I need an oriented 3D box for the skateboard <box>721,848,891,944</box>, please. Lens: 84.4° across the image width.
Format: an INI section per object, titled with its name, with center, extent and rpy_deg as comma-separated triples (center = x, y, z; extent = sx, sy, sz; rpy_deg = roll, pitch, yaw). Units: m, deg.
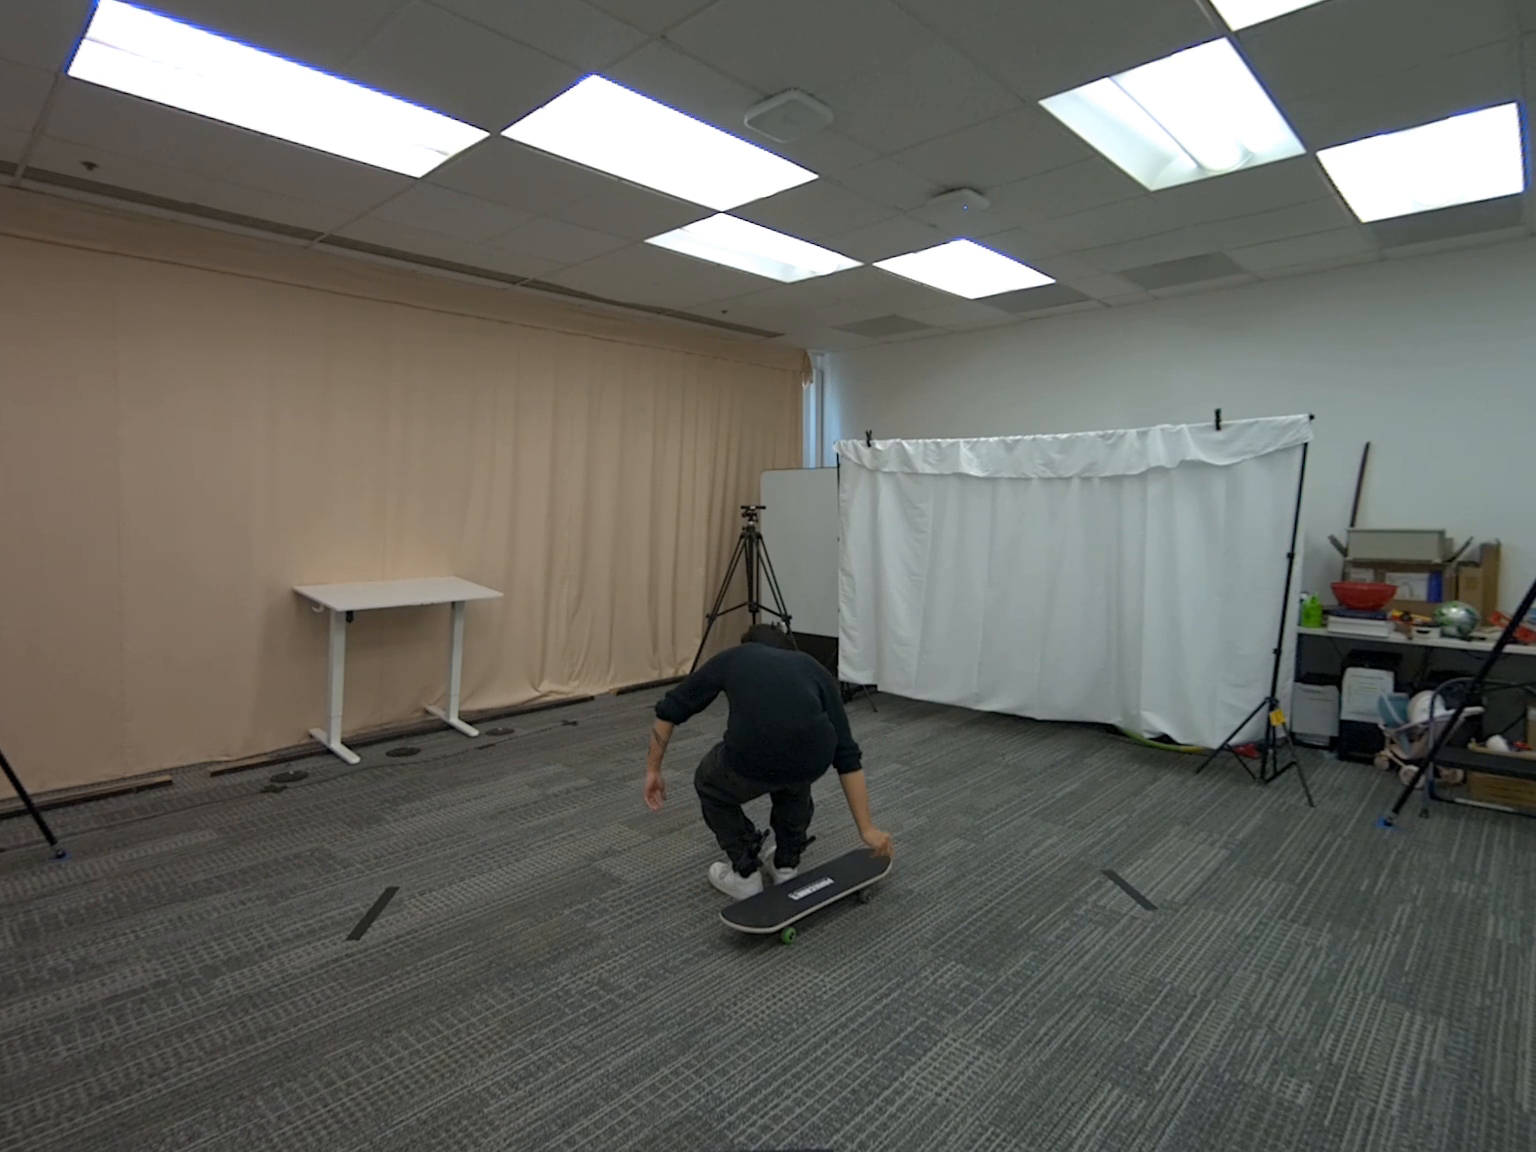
[skateboard]
center = 0.148, 1.096, 2.867
extent = 0.761, 0.110, 0.200
rpy_deg = -5, 7, -44
